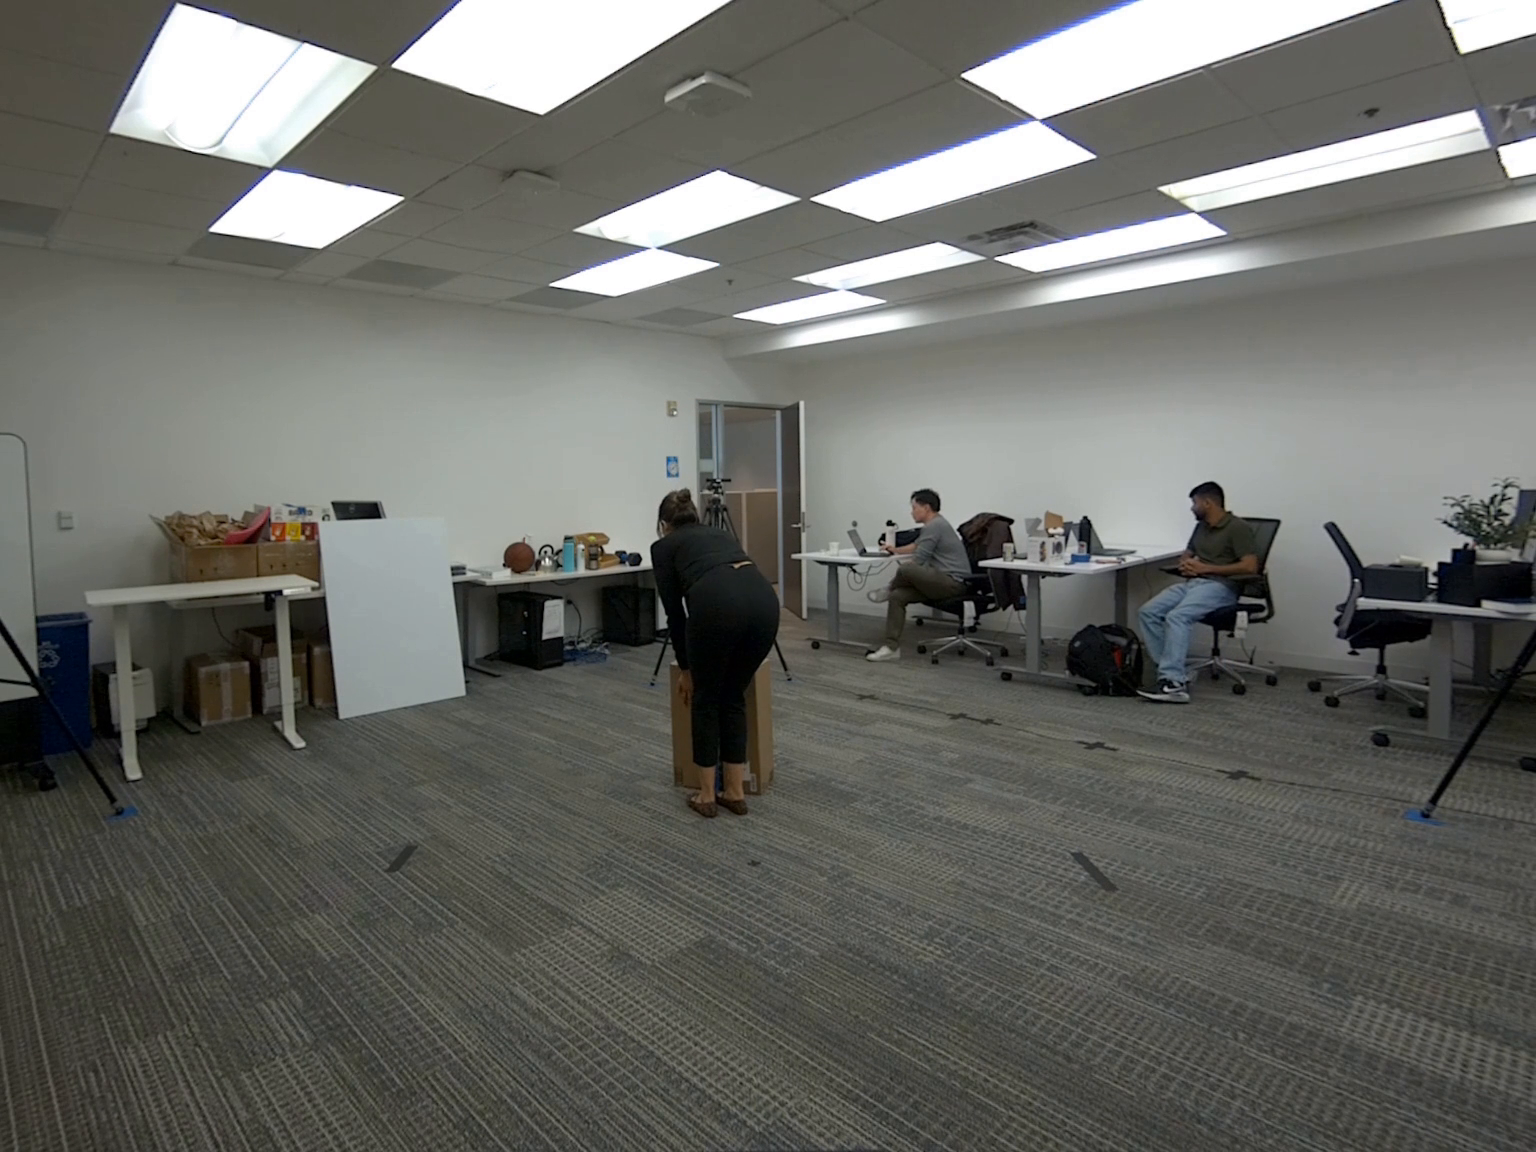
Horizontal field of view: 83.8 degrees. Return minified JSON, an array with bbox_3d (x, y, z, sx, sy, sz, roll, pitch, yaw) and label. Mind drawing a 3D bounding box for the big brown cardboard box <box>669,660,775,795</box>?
[{"bbox_3d":[-0.217,0.675,3.929,0.425,0.587,0.229,-1,3,19],"label":"big brown cardboard box"}]
